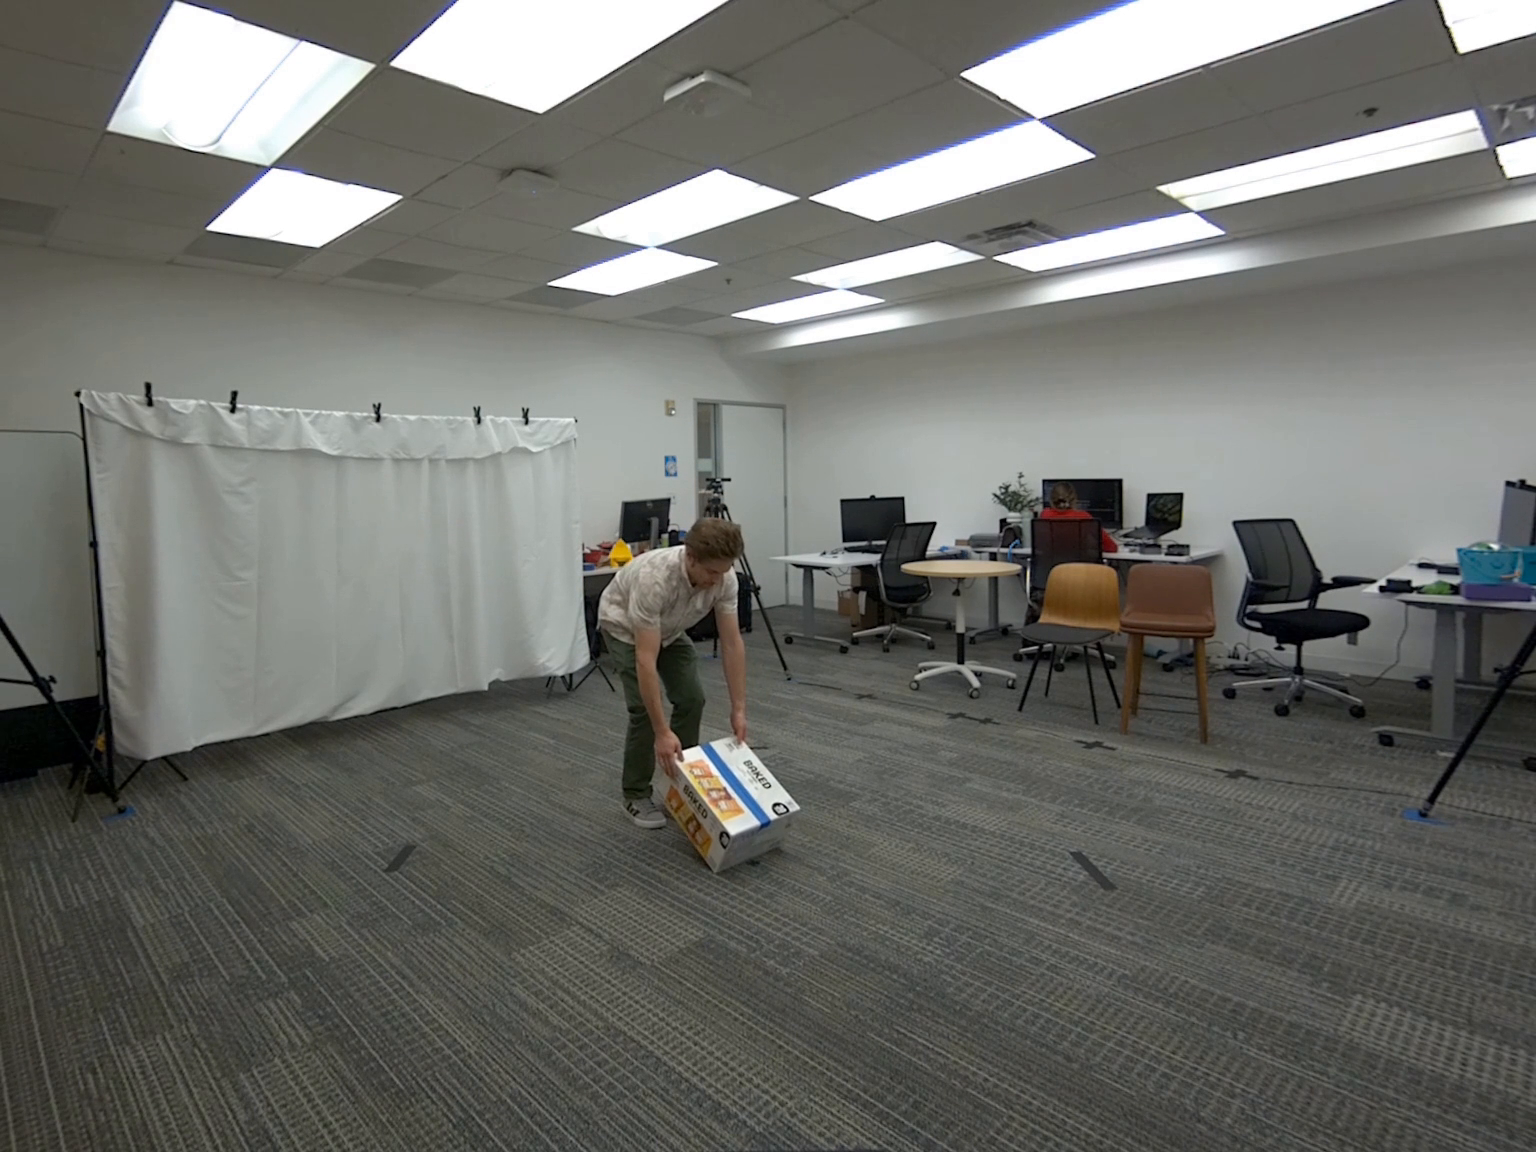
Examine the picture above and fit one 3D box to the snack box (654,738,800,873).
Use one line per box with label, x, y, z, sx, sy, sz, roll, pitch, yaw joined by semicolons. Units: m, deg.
snack box;-0.154;0.844;3.210;0.332;0.203;0.421;-8;39;-41
